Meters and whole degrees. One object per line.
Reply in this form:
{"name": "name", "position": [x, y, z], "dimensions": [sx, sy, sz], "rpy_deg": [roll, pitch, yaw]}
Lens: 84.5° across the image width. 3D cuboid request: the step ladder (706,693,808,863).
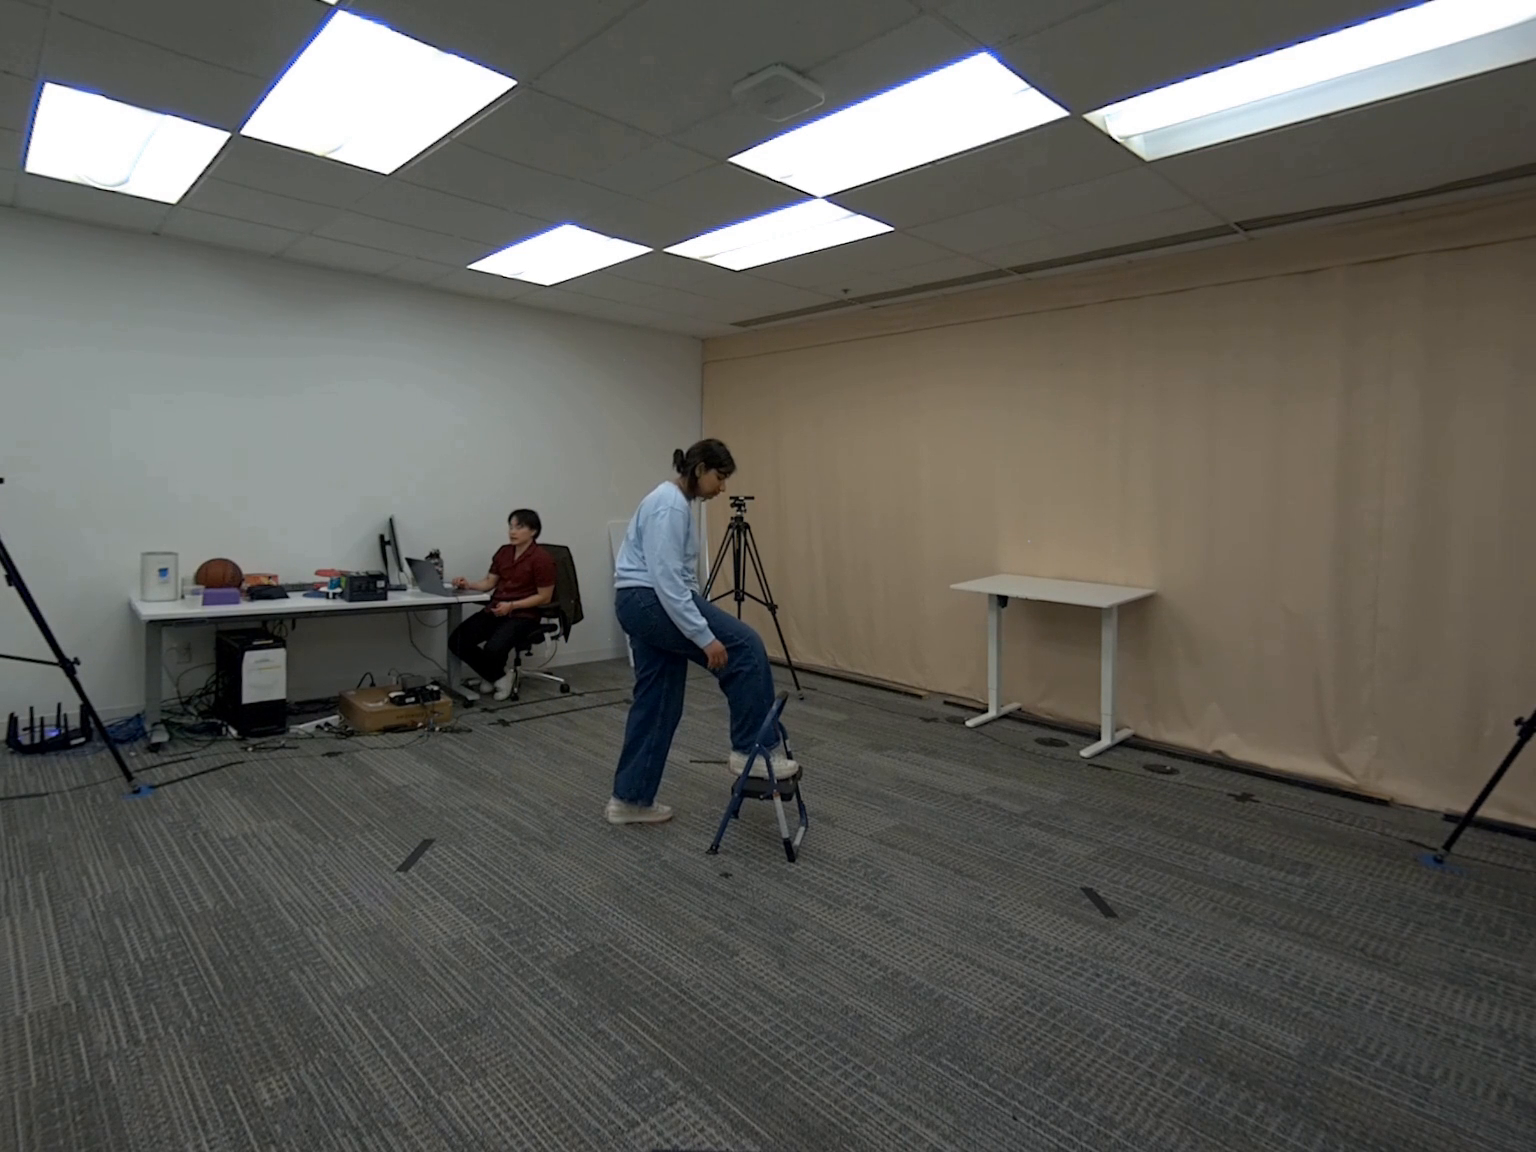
{"name": "step ladder", "position": [-0.030, 0.777, 3.435], "dimensions": [0.353, 0.605, 0.427], "rpy_deg": [2, 4, 11]}
